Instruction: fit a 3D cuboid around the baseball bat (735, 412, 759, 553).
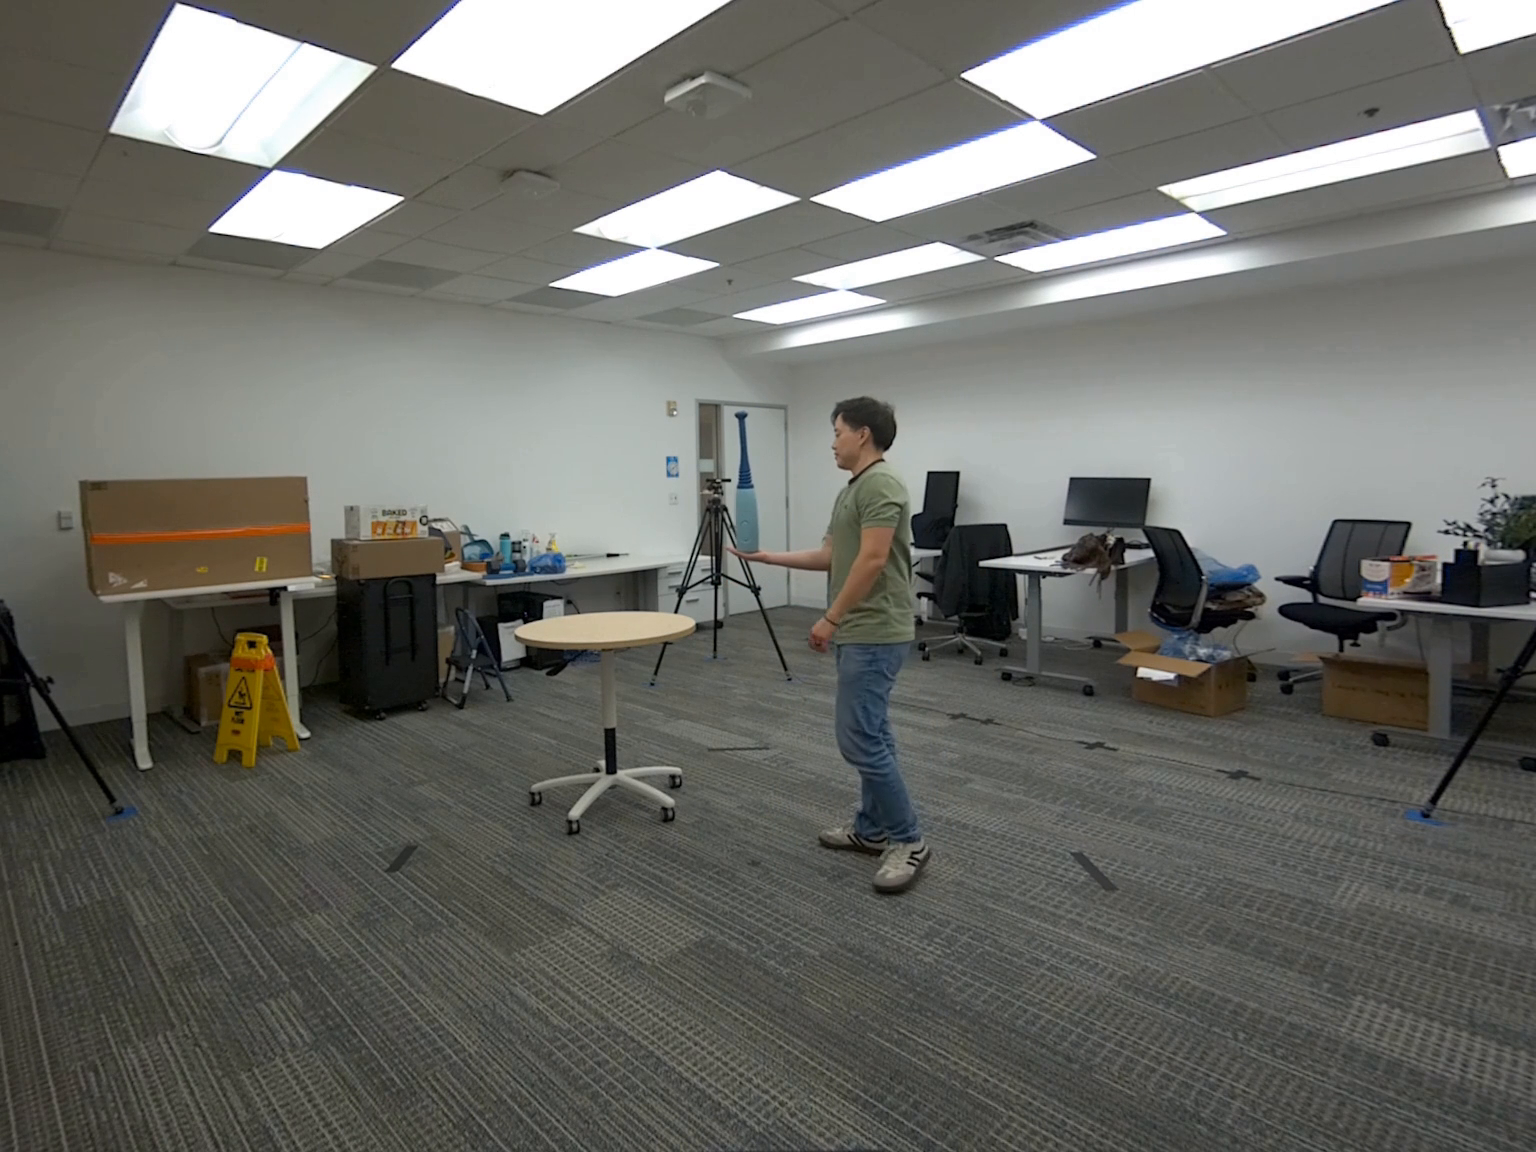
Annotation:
[{"bbox_3d":[-0.092,-0.357,3.289,0.089,0.538,0.090,-3,10,-1],"label":"baseball bat"}]
